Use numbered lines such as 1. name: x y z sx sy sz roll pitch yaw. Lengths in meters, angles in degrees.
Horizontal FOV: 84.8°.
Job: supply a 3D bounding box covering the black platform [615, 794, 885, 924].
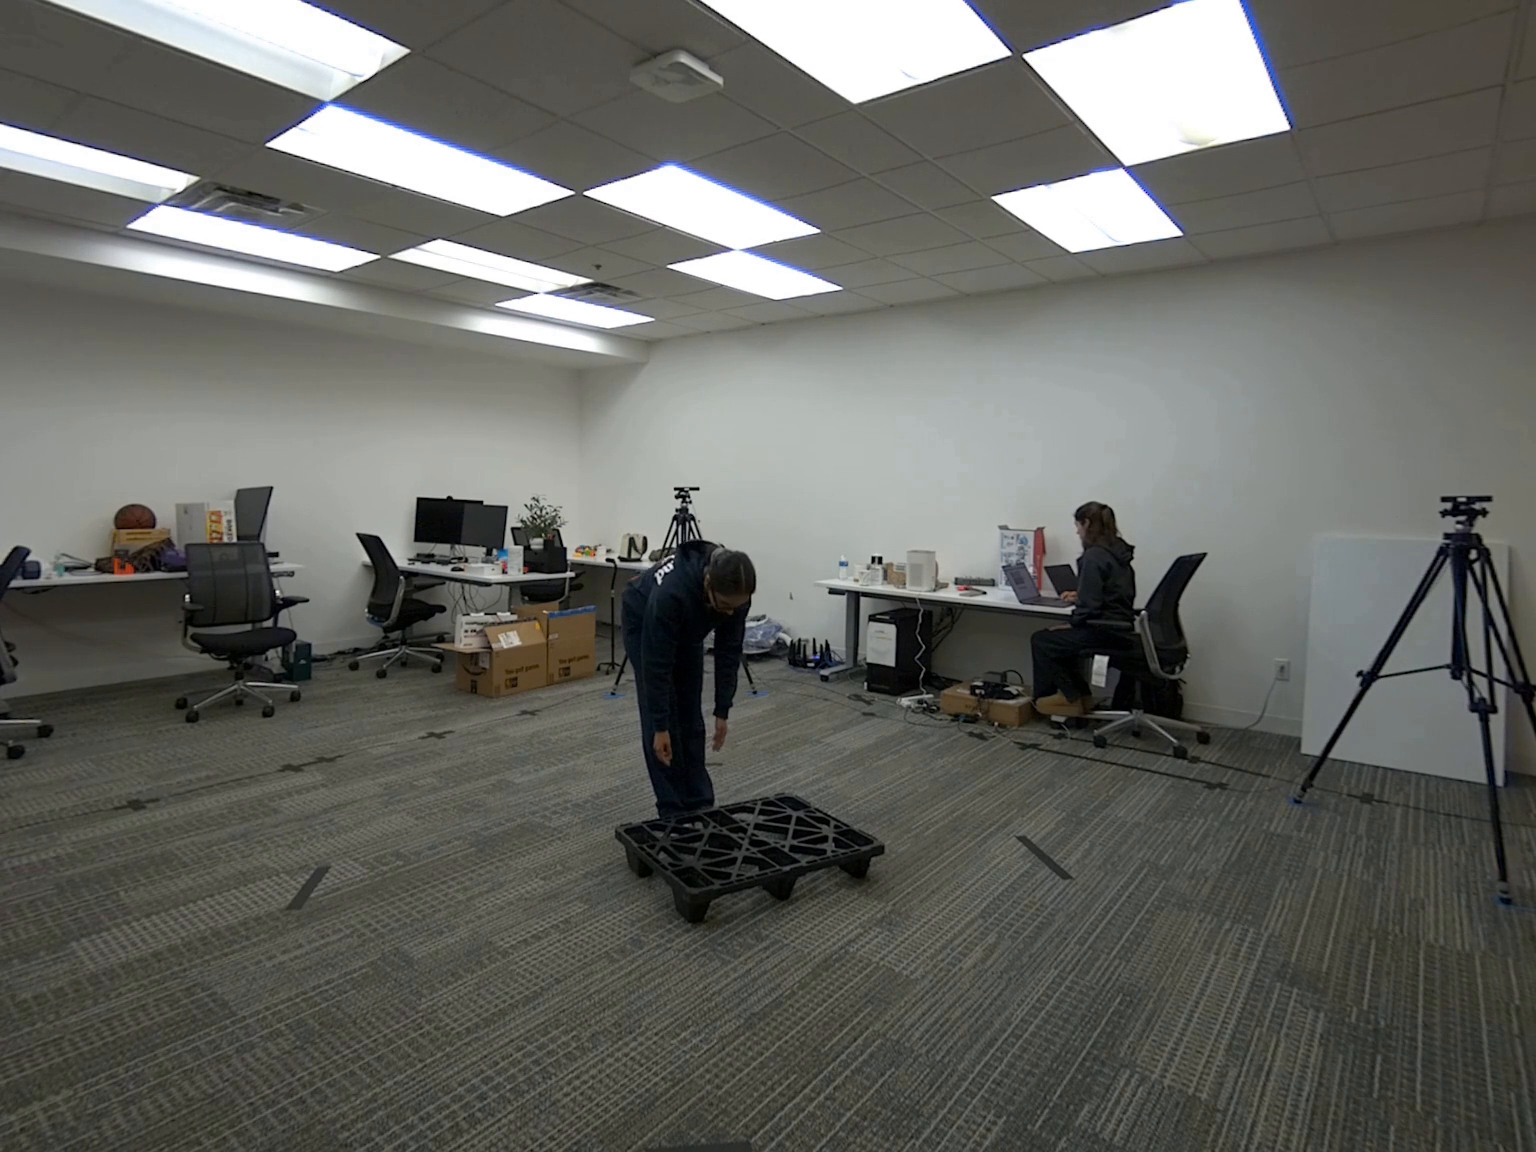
1. black platform: -0.079 1.006 3.086 0.783 0.143 0.625 -3 7 -32
